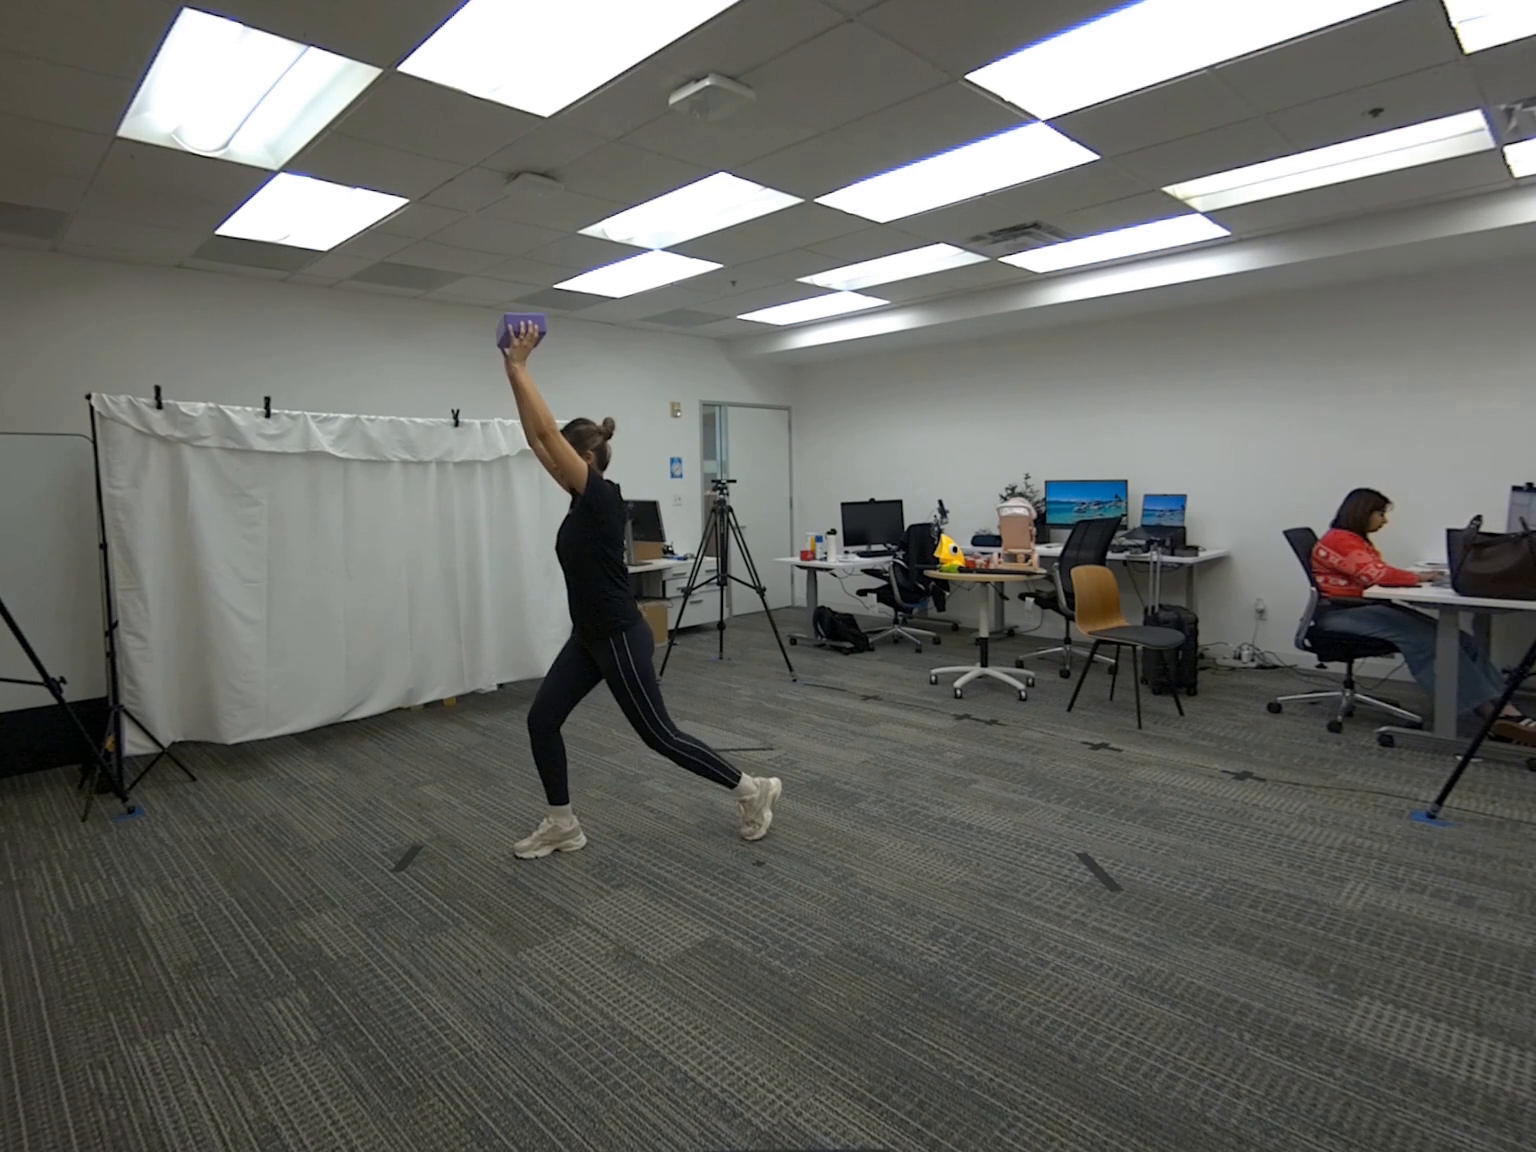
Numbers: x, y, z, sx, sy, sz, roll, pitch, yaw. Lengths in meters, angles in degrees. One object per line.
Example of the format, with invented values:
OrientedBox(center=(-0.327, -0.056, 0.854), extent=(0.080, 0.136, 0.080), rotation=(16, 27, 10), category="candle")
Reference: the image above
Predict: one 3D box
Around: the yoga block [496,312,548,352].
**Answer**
OrientedBox(center=(-0.896, -0.883, 3.080), extent=(0.146, 0.076, 0.234), rotation=(-5, 3, -22), category="yoga block")
